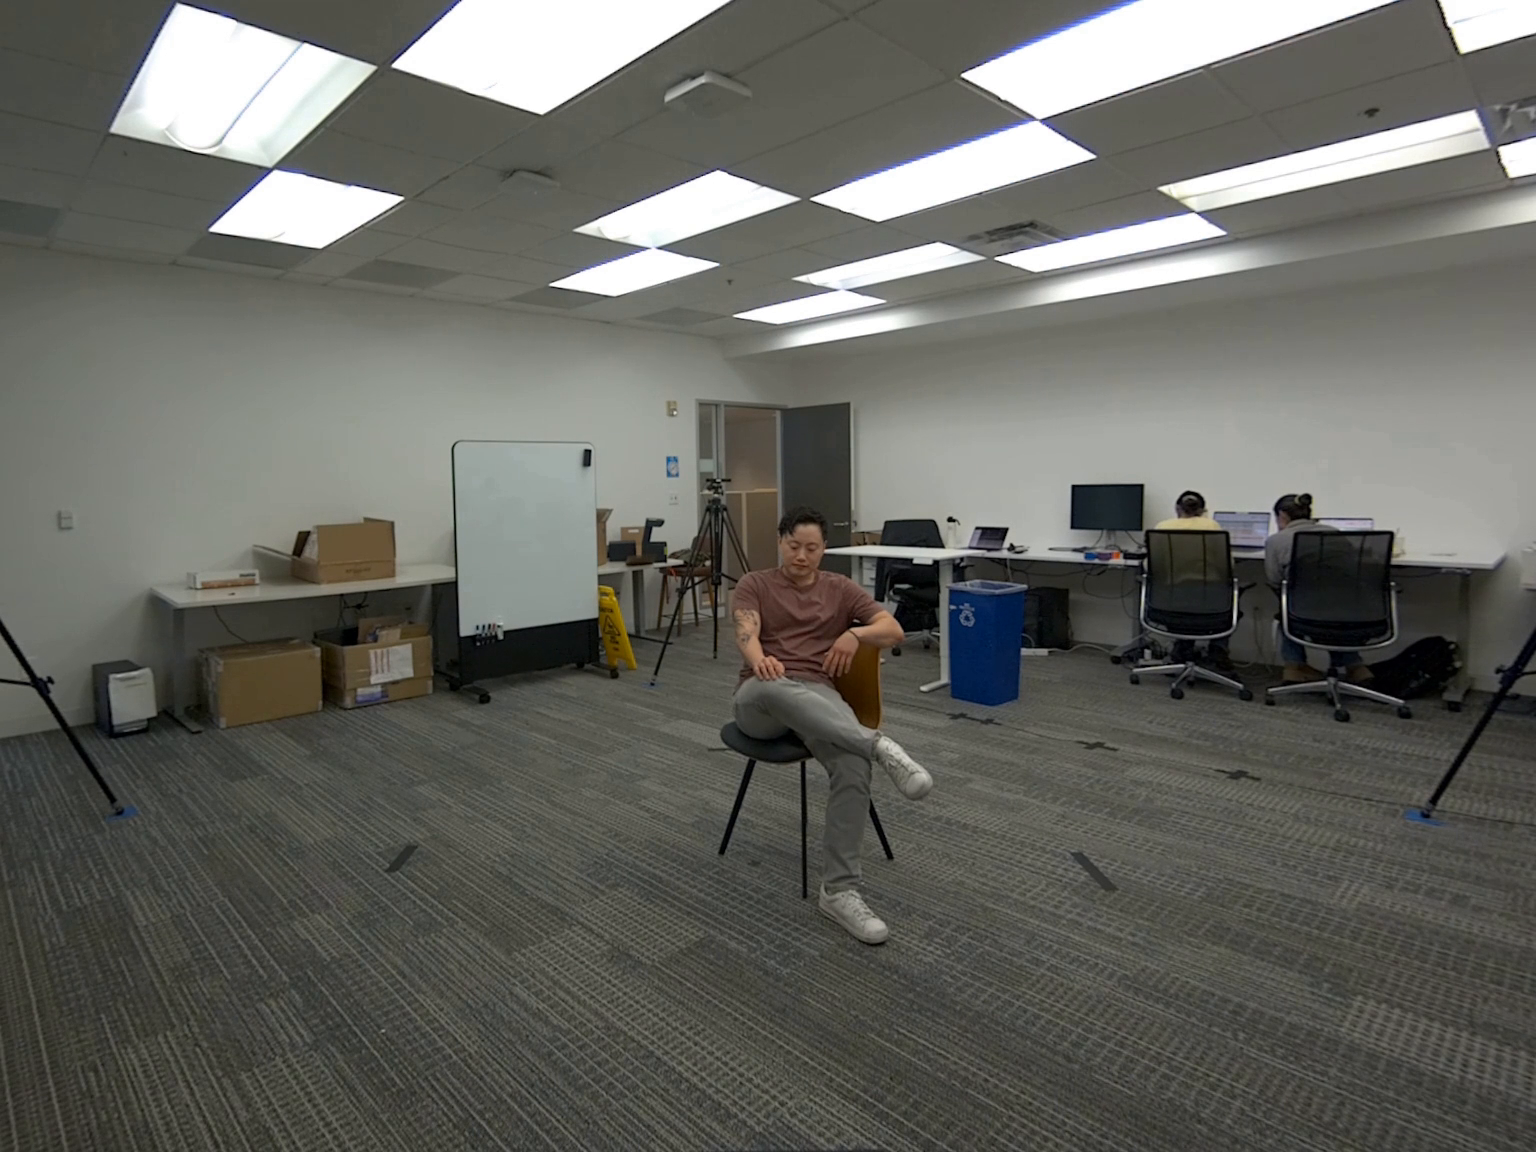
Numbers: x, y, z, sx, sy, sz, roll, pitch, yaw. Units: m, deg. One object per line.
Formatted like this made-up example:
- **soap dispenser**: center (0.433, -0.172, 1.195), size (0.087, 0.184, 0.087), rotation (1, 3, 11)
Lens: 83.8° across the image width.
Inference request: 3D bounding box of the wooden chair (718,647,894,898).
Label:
- **wooden chair**: center (0.124, 0.613, 3.116), size (0.508, 0.877, 0.492), rotation (1, 1, -41)
